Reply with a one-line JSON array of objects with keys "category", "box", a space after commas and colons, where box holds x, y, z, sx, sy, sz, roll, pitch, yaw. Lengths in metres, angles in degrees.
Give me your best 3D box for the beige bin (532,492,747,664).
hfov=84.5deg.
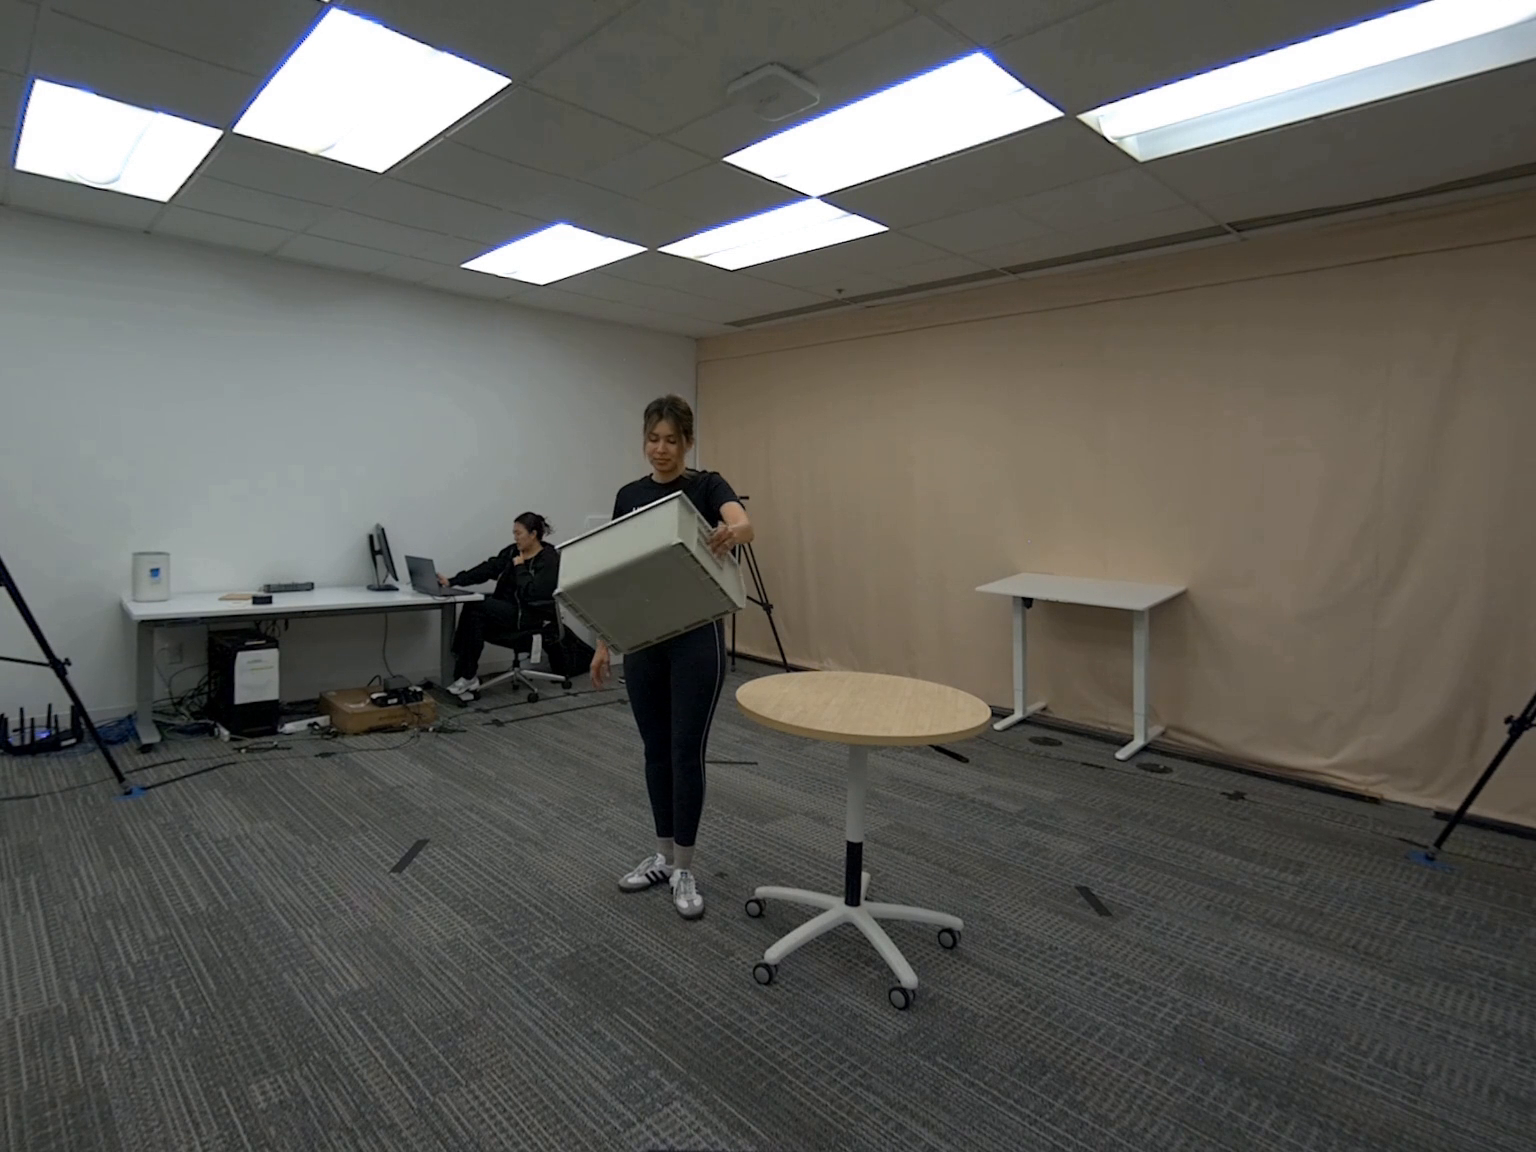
[{"category": "beige bin", "box": [-0.345, 0.018, 2.388, 0.426, 0.193, 0.365, -20, -44, 18]}]
